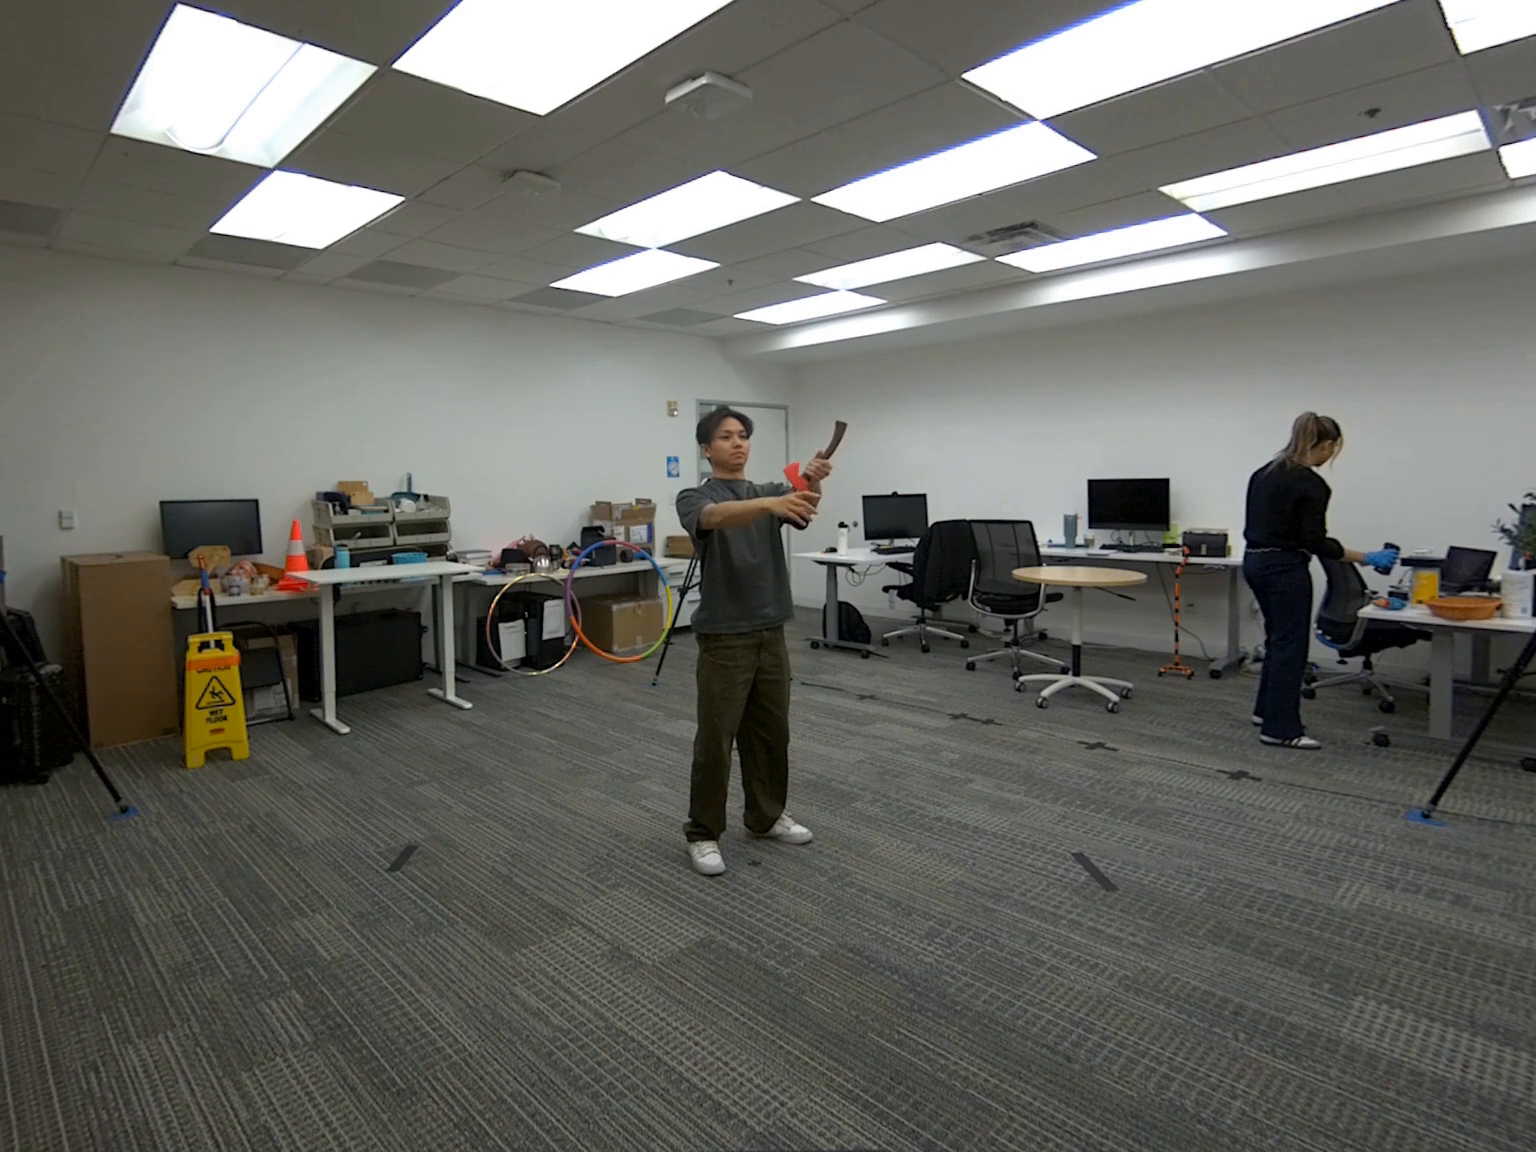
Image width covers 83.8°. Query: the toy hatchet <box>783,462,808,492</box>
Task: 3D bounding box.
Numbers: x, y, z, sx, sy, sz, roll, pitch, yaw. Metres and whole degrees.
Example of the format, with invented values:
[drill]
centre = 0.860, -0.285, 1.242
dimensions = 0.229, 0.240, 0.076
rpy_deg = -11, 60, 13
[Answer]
[toy hatchet]
centre = 0.148, -0.390, 2.750
dimensions = 0.132, 0.269, 0.029
rpy_deg = 23, 5, 8
